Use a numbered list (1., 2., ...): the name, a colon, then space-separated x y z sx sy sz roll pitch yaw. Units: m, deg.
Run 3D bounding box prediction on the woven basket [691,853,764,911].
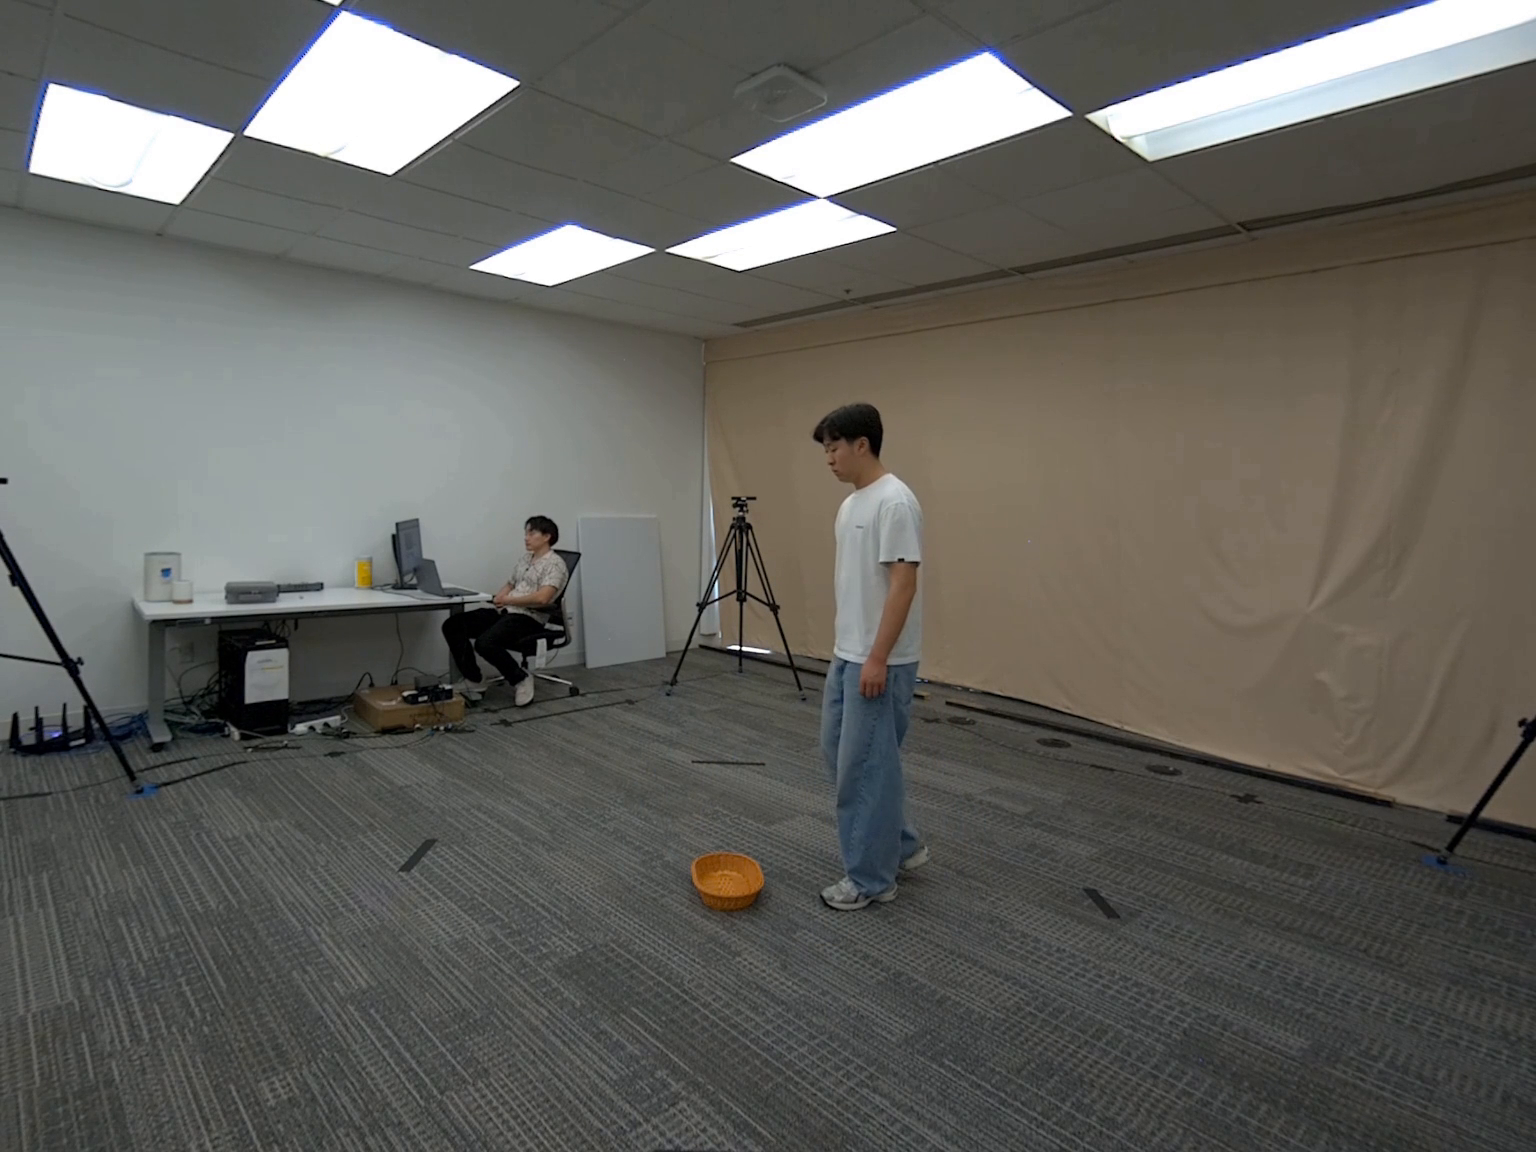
1. woven basket: -0.152 1.077 2.975 0.251 0.073 0.353 1 5 -8
